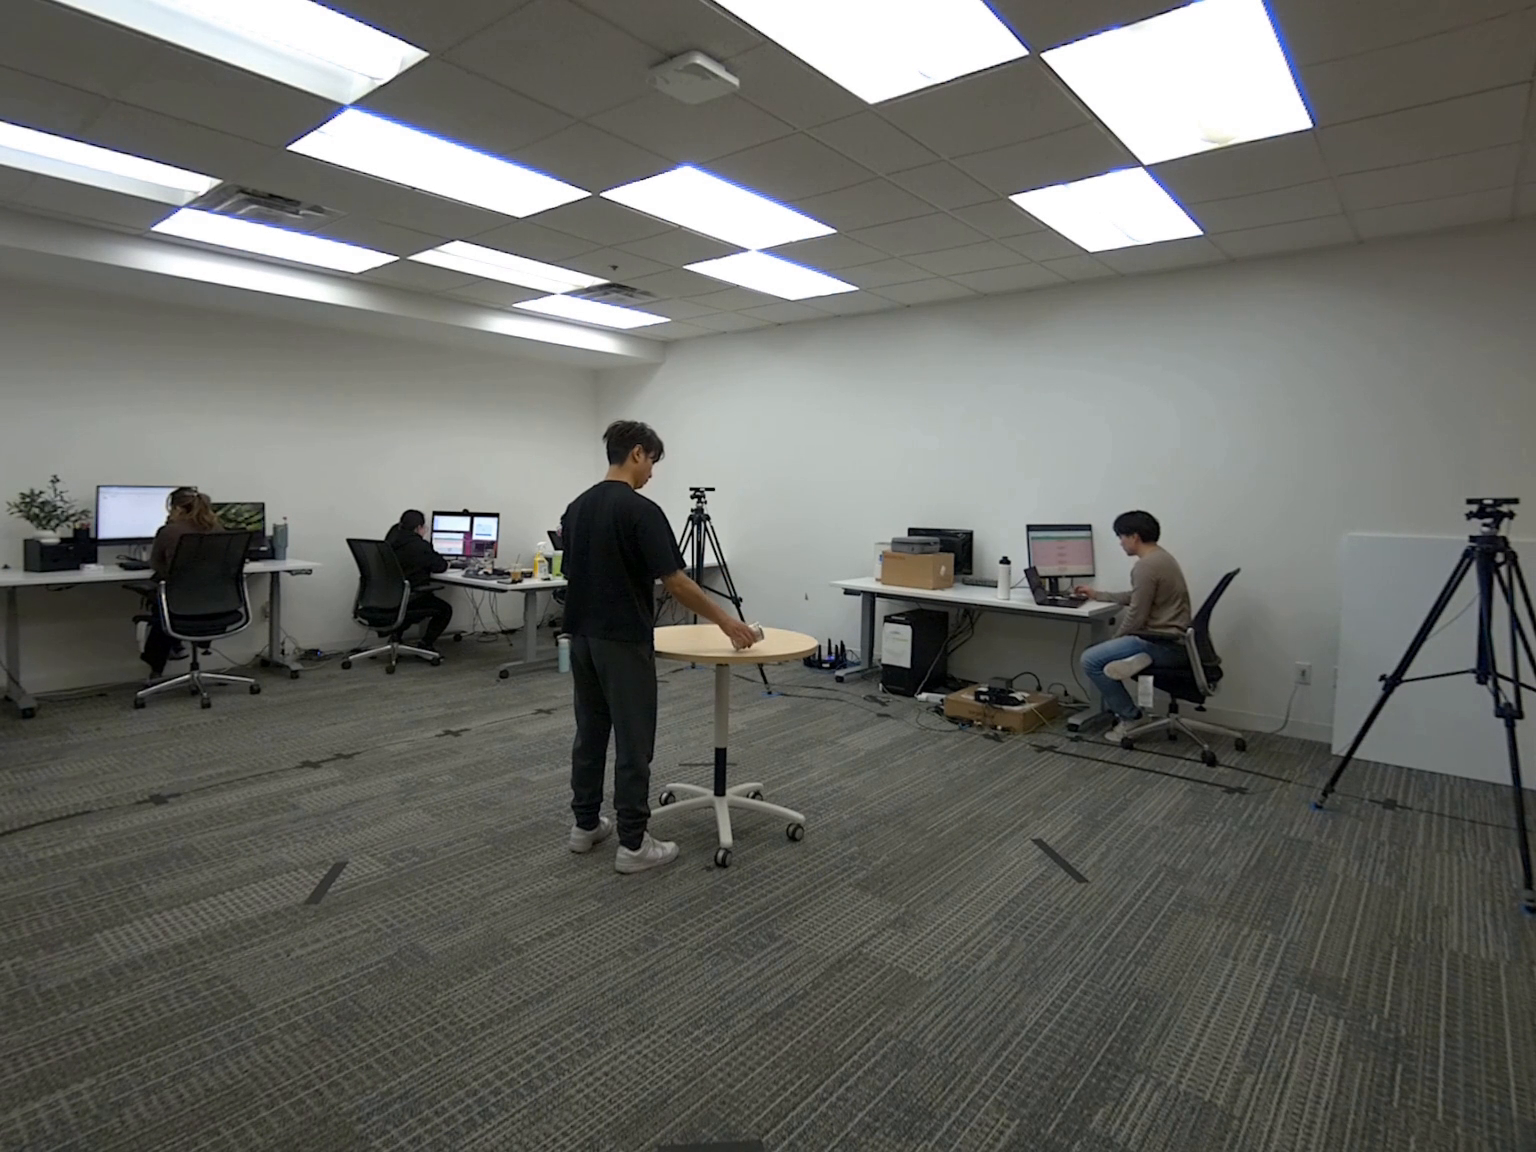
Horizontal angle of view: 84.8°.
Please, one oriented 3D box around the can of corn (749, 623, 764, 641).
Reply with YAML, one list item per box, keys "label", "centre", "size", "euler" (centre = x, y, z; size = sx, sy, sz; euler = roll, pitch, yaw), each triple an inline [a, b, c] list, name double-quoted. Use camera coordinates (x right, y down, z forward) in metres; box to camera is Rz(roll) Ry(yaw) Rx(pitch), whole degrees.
- label: "can of corn"
  centre: [-0.092, 0.225, 3.179]
  size: [0.110, 0.073, 0.076]
  euler: [-19, 9, -14]
